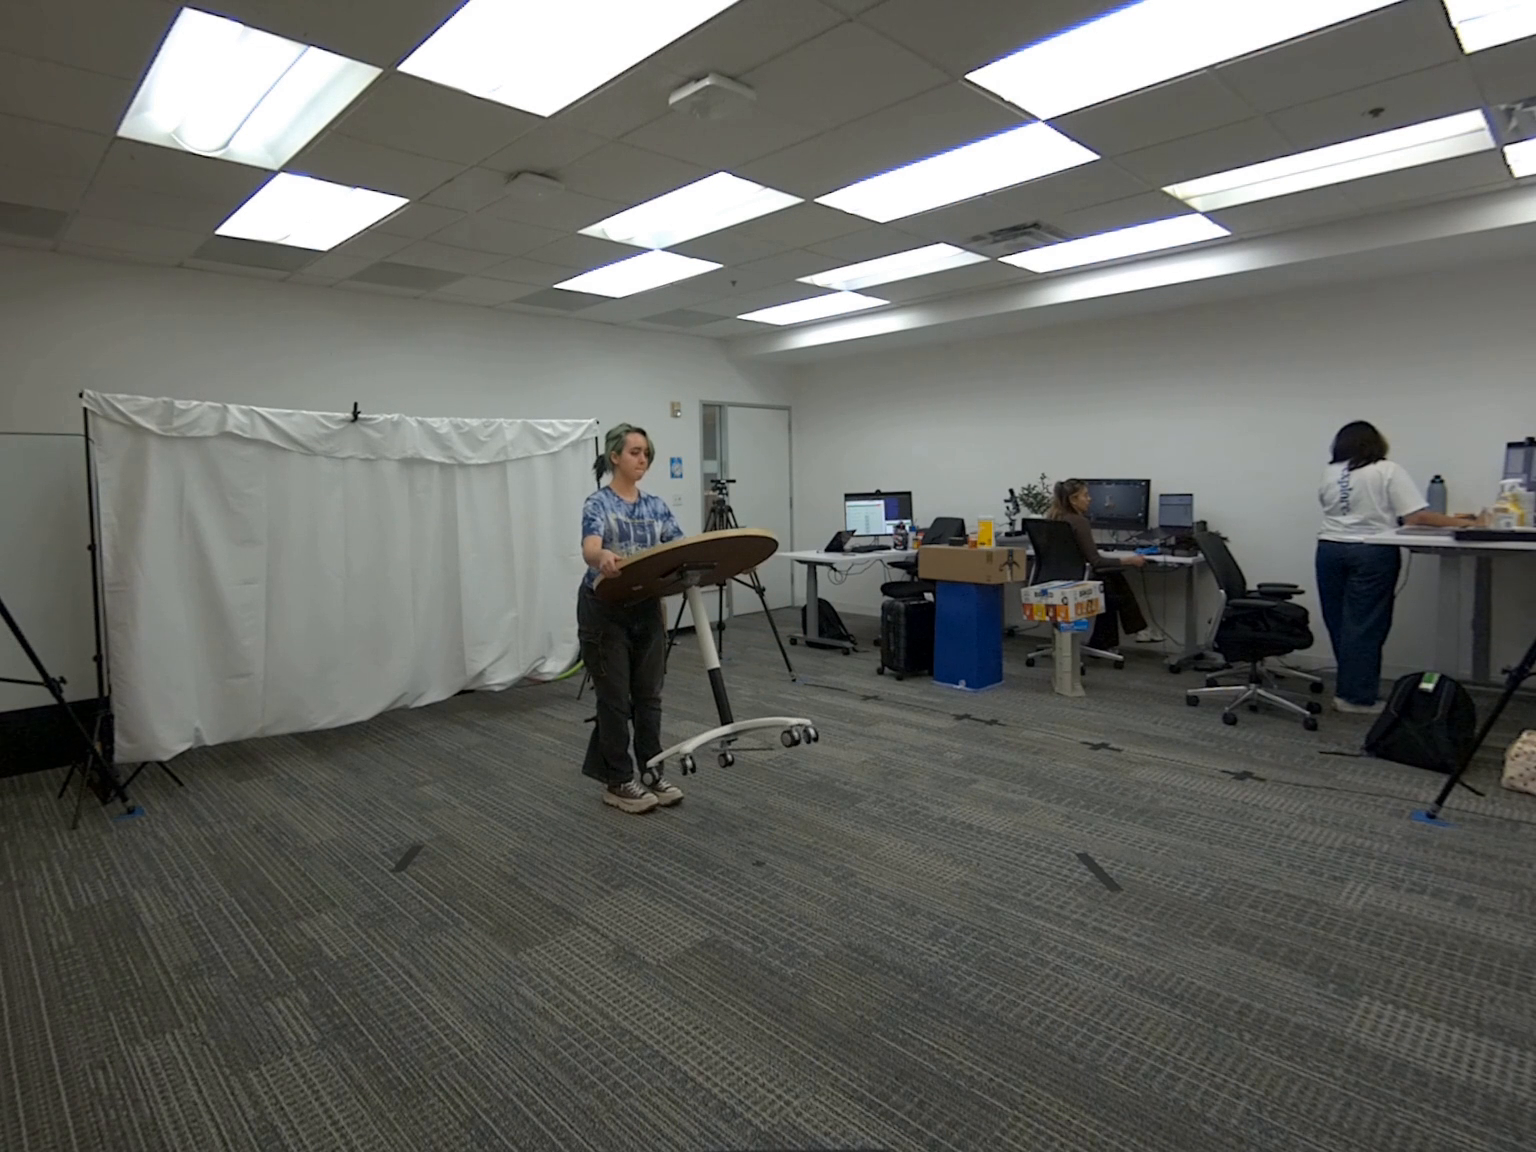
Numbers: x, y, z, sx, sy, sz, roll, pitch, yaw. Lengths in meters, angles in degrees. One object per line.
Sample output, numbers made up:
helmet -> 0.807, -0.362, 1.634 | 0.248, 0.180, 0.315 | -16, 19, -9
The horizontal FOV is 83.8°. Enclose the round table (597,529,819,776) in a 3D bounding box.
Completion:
round table -> -0.216, 0.338, 3.352 | 0.761, 0.808, 0.754 | -15, -14, -5
